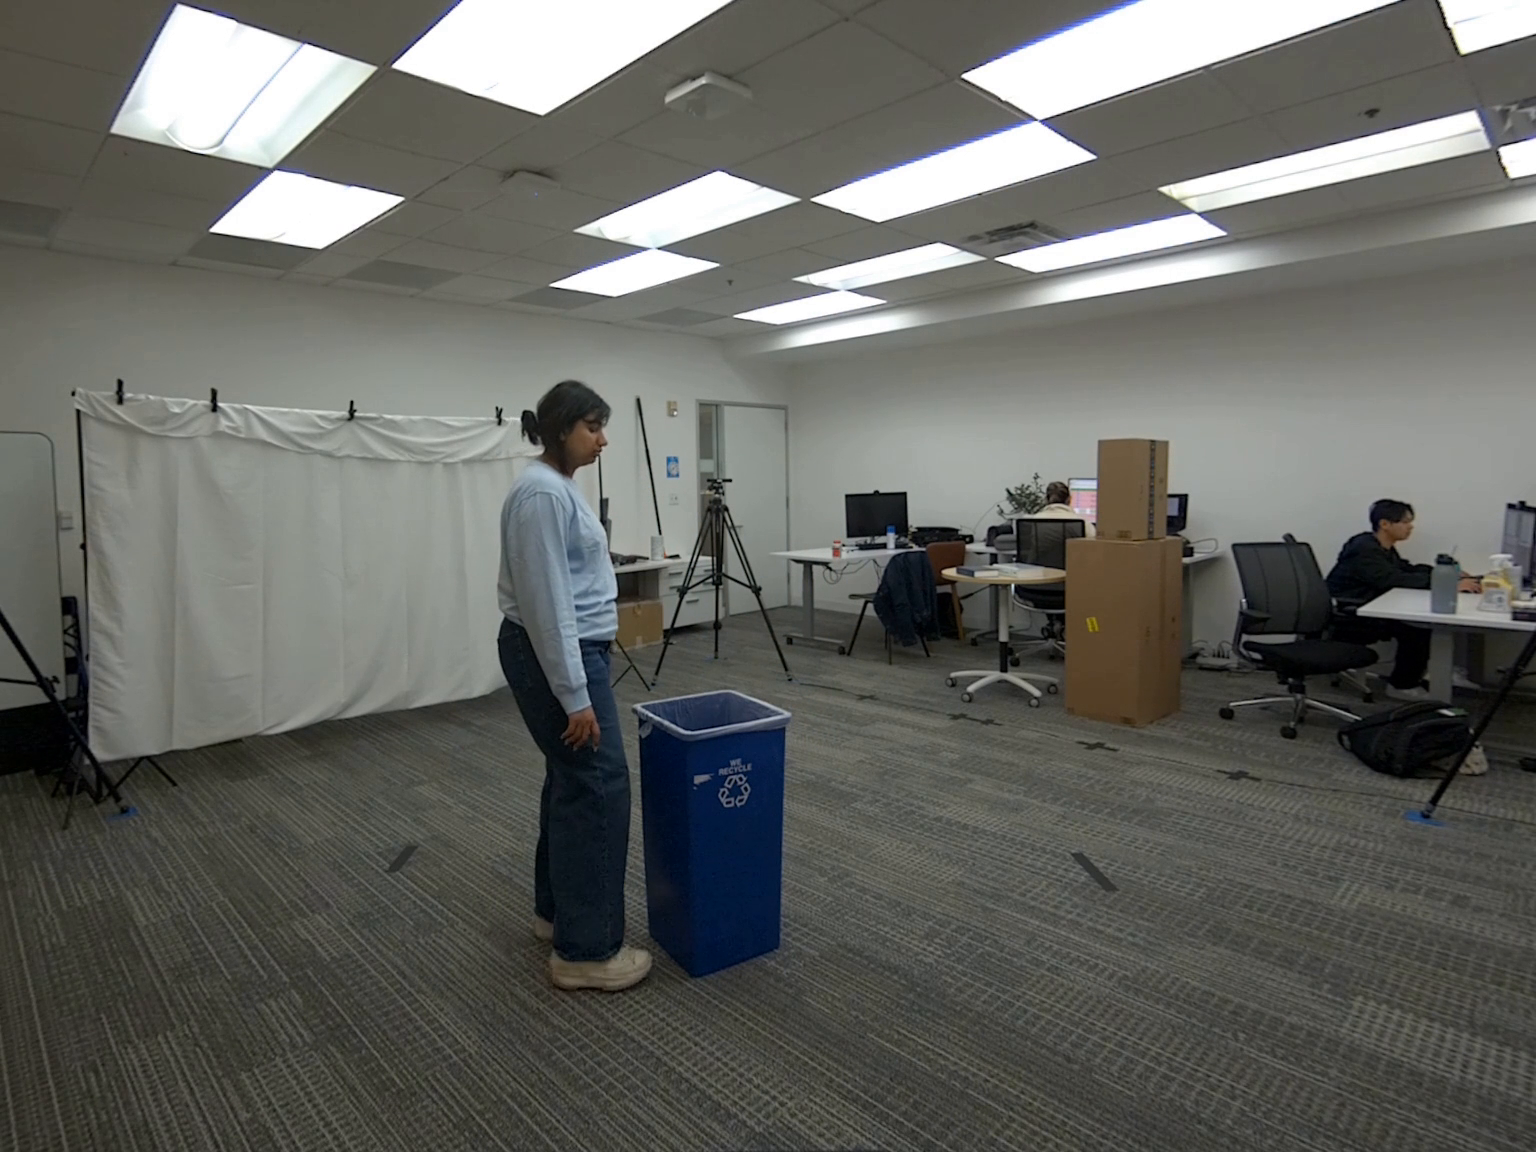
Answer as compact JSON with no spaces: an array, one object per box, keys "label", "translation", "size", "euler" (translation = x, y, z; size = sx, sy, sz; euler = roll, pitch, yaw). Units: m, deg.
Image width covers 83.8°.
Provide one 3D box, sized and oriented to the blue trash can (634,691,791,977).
[{"label":"blue trash can","translation":[-0.165,0.750,2.579],"size":[0.365,0.710,0.389],"euler":[-4,6,-33]}]
